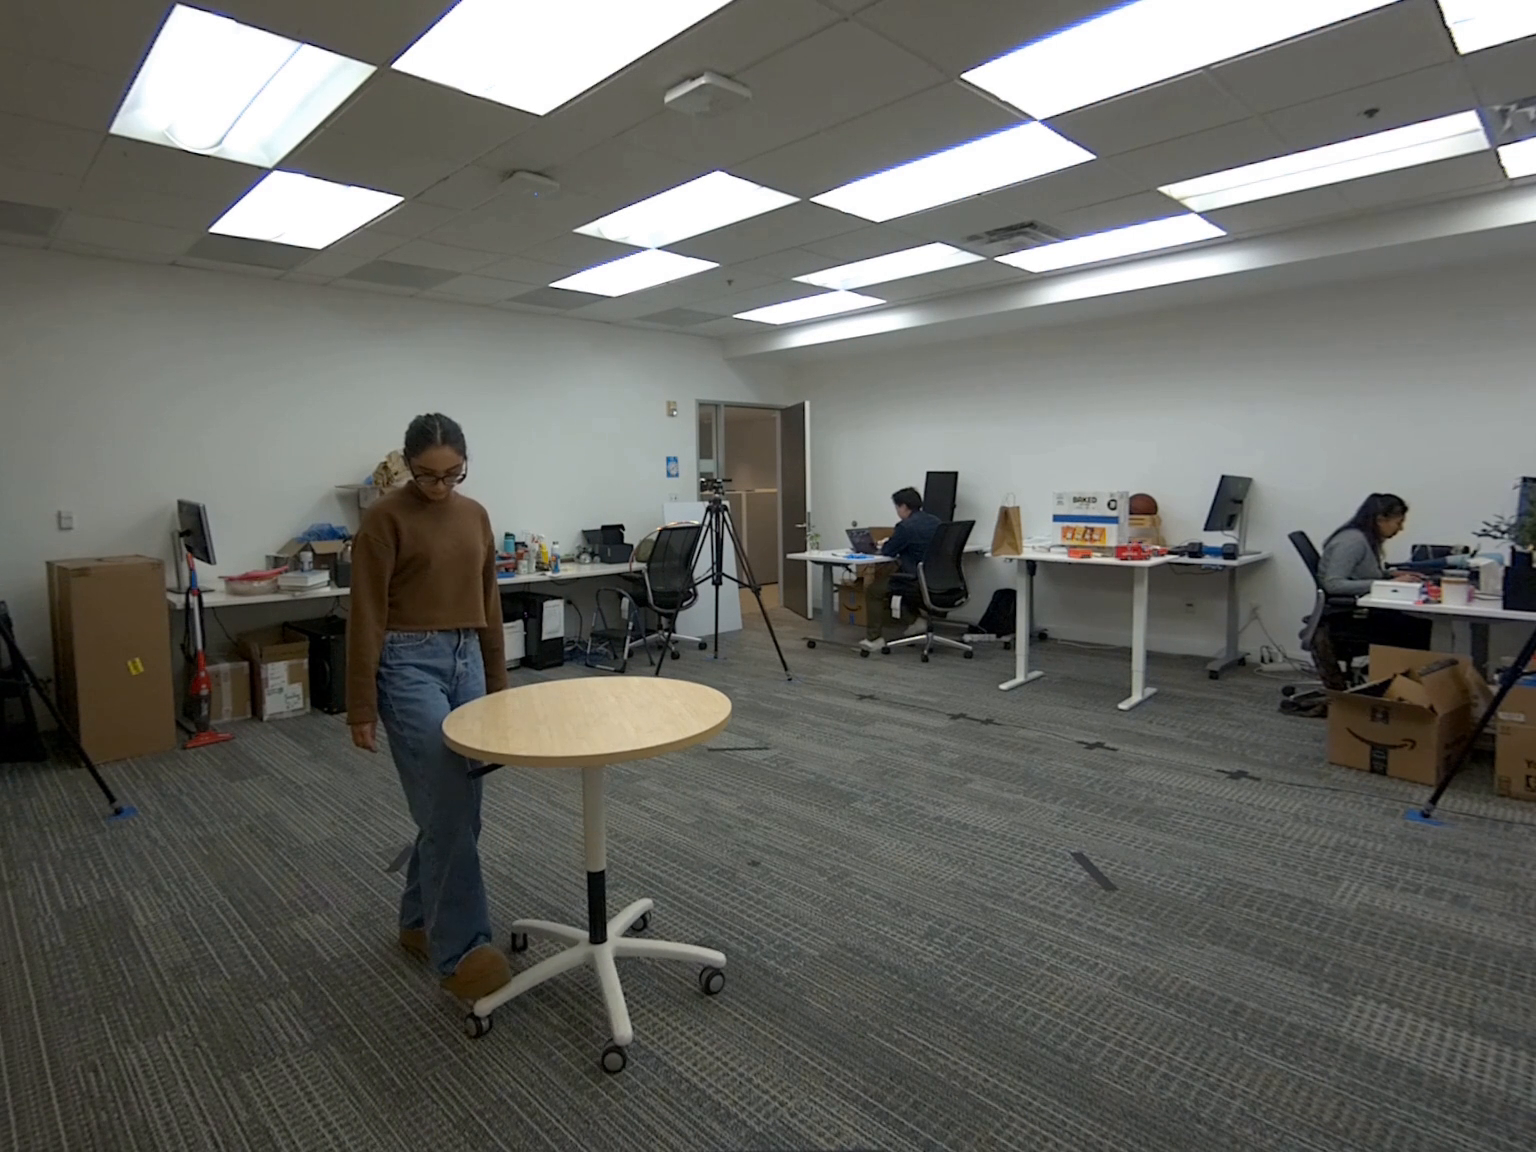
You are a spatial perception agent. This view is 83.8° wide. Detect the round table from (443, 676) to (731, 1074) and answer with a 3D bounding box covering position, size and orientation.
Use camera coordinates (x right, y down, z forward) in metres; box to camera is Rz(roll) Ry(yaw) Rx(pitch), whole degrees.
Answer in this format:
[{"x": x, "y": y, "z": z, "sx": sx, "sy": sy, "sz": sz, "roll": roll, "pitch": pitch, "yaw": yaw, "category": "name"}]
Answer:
[{"x": -0.466, "y": 0.751, "z": 2.332, "sx": 0.763, "sy": 0.791, "sz": 0.768, "roll": -2, "pitch": 5, "yaw": -2, "category": "round table"}]
